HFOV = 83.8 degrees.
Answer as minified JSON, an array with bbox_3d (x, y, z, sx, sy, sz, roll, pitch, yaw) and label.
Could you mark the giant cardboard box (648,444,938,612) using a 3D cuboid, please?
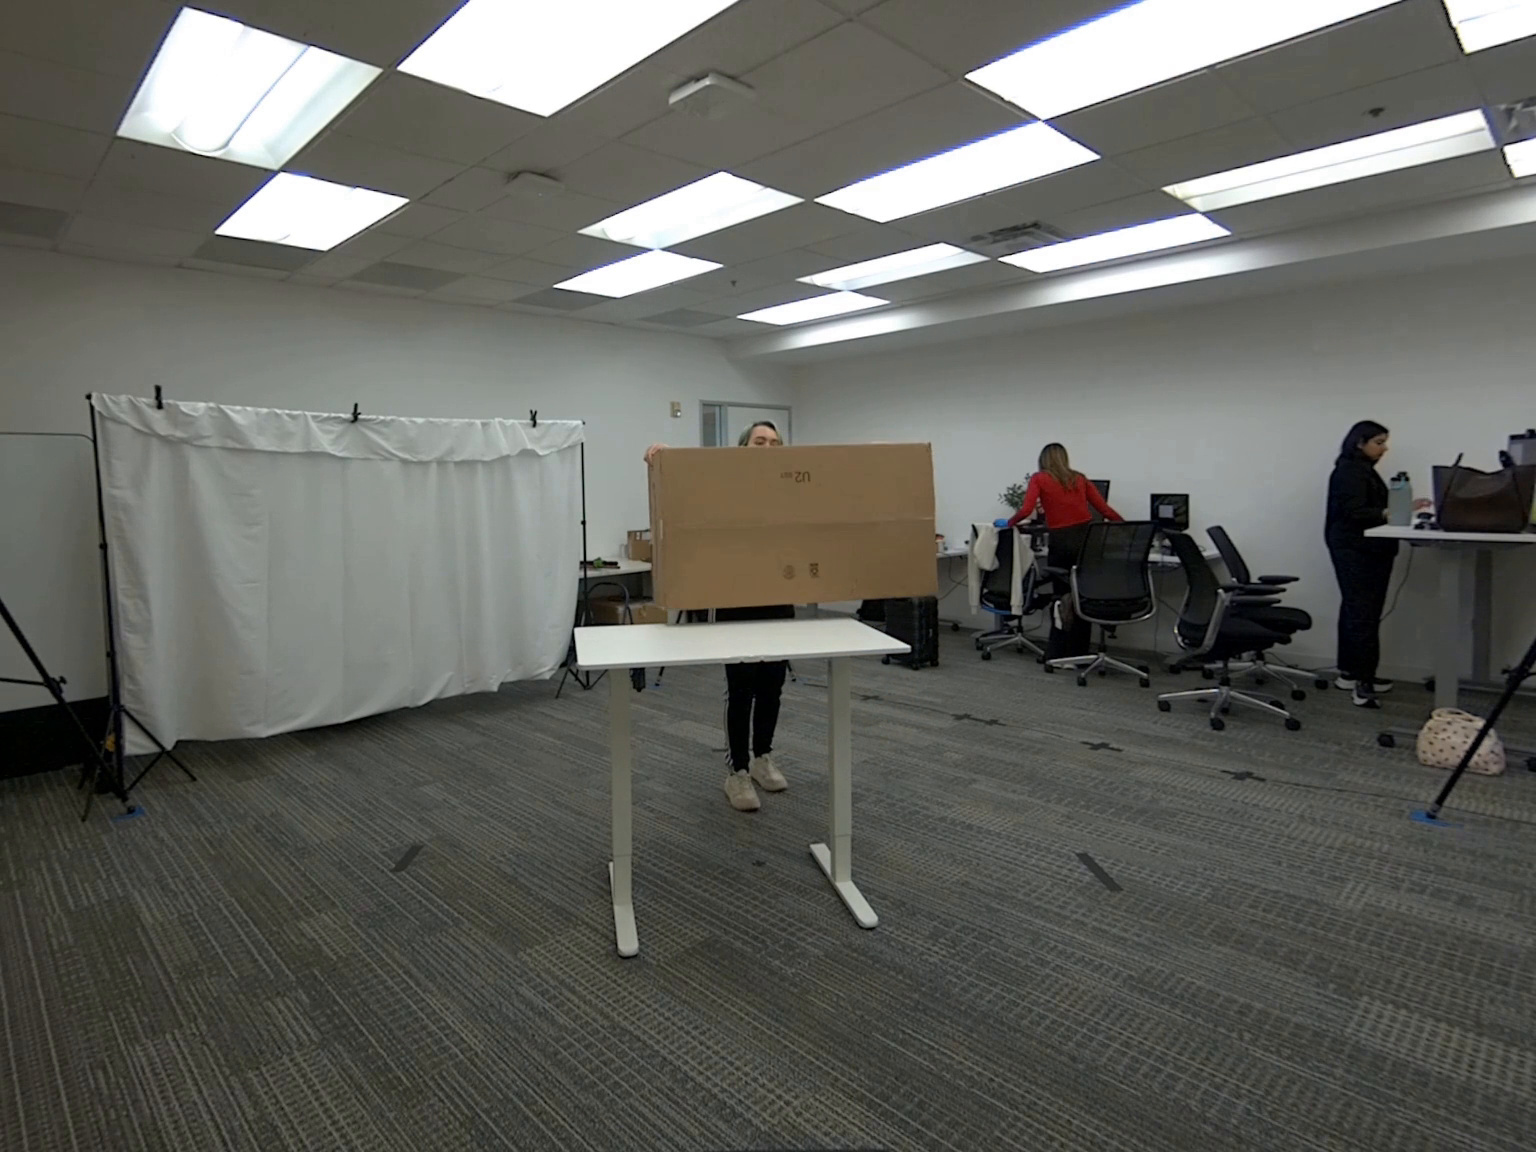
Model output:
[{"bbox_3d":[0.077,-0.192,3.287,1.016,0.585,0.451,-3,-1,-11],"label":"giant cardboard box"}]
